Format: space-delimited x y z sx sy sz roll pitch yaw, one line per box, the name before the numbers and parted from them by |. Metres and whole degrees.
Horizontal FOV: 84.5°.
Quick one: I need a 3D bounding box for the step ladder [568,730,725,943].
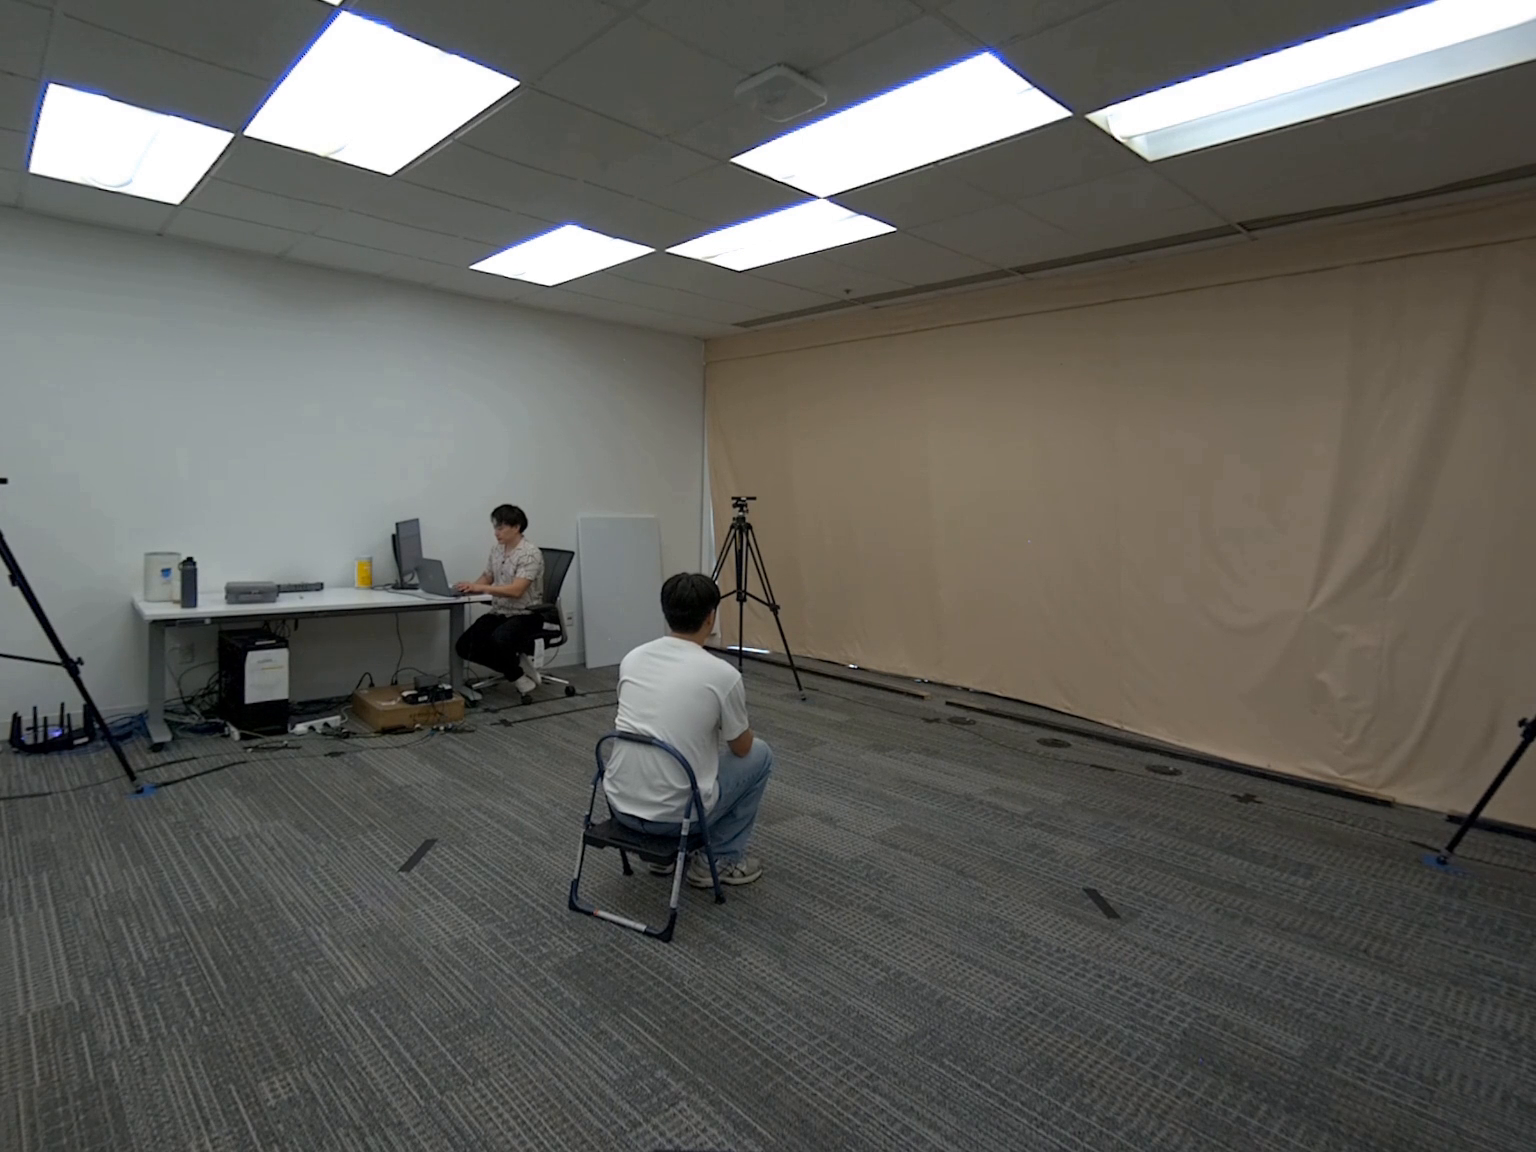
step ladder | -0.419 0.825 2.849 0.440 0.604 0.343 2 4 29
